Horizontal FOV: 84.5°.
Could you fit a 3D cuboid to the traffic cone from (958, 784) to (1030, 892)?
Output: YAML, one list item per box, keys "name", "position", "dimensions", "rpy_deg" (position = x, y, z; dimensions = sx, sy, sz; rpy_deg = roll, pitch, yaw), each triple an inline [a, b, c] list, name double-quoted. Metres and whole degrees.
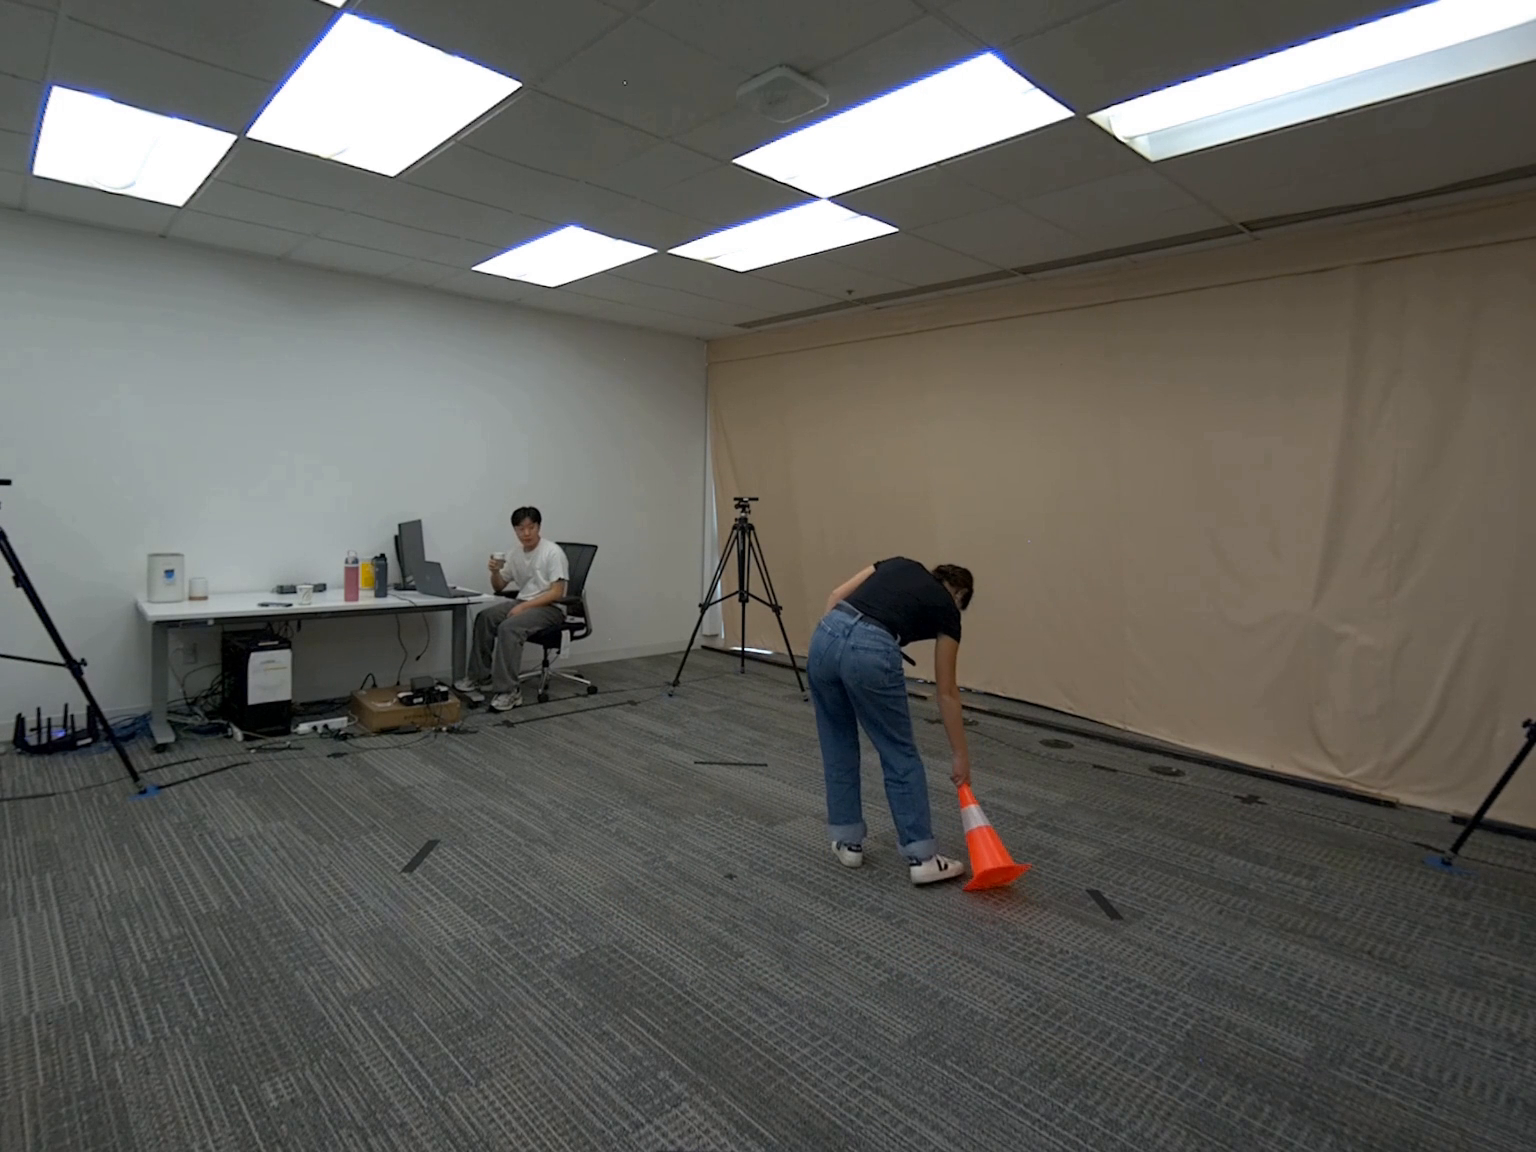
- name: "traffic cone"
  position: [0.770, 0.932, 3.110]
  dimensions: [0.201, 0.393, 0.202]
  rpy_deg: [2, -40, -17]
